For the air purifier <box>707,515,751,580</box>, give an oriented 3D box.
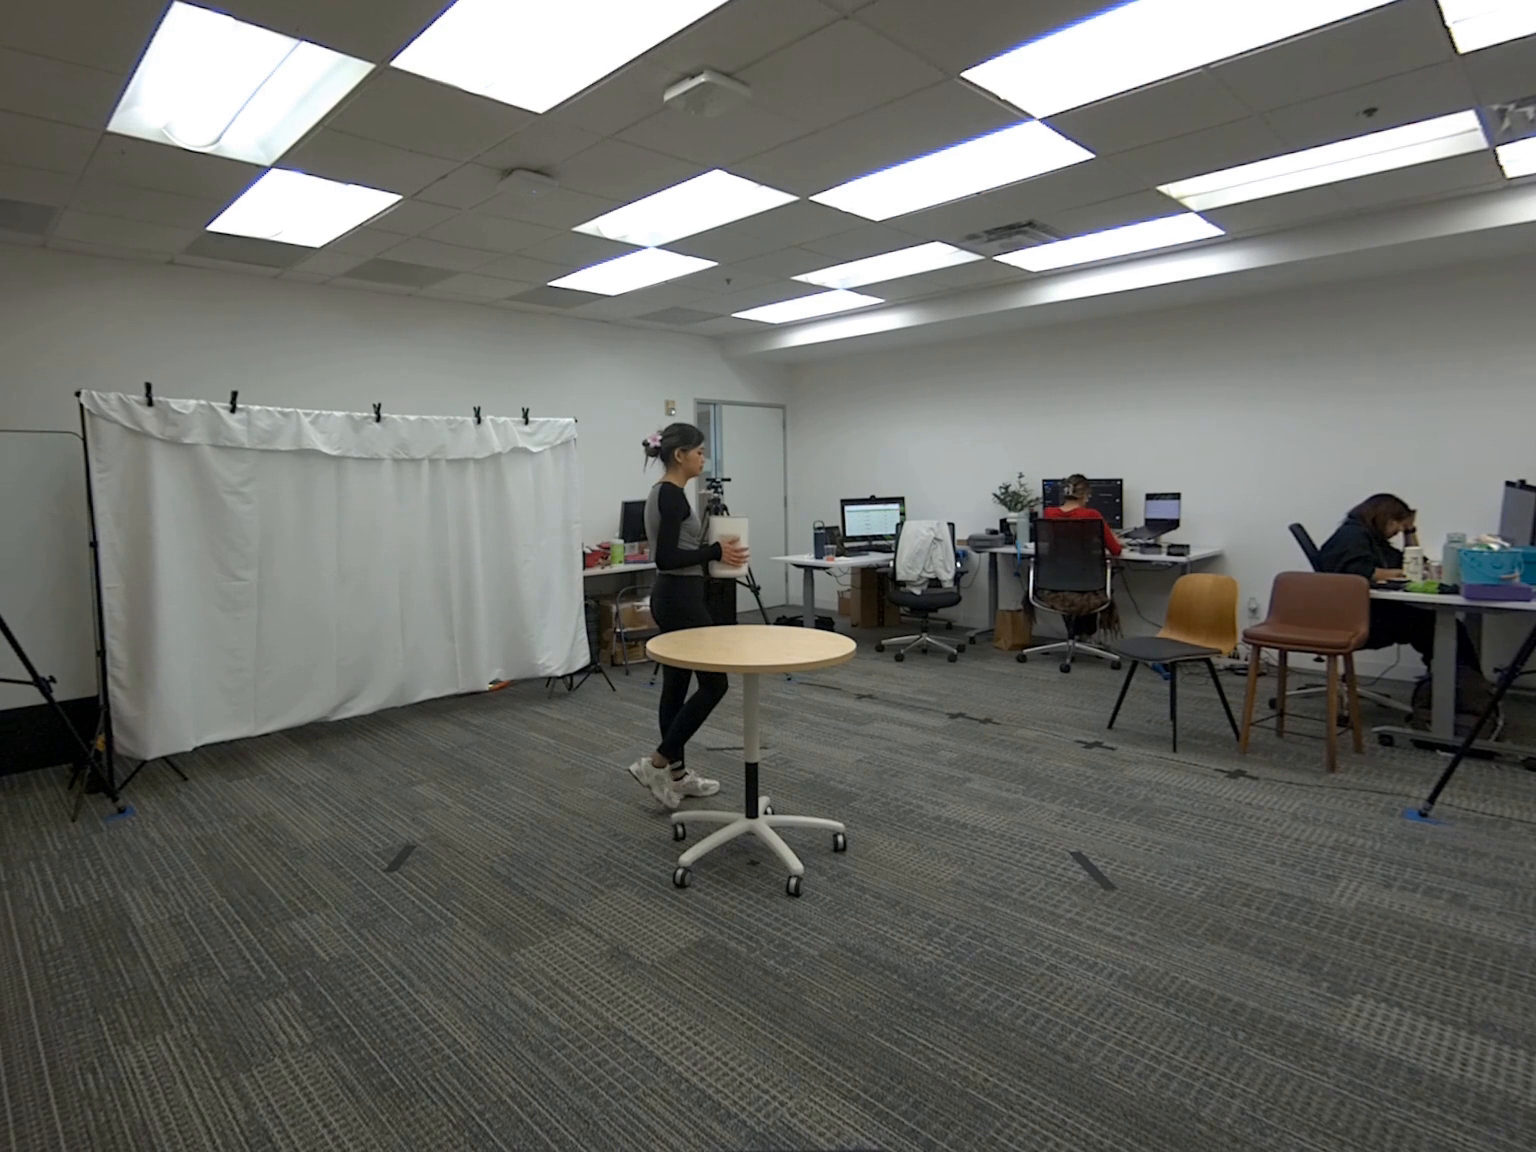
[{"bbox_3d":[-0.170,-0.128,3.728,0.173,0.264,0.171,0,4,5],"label":"air purifier"}]
